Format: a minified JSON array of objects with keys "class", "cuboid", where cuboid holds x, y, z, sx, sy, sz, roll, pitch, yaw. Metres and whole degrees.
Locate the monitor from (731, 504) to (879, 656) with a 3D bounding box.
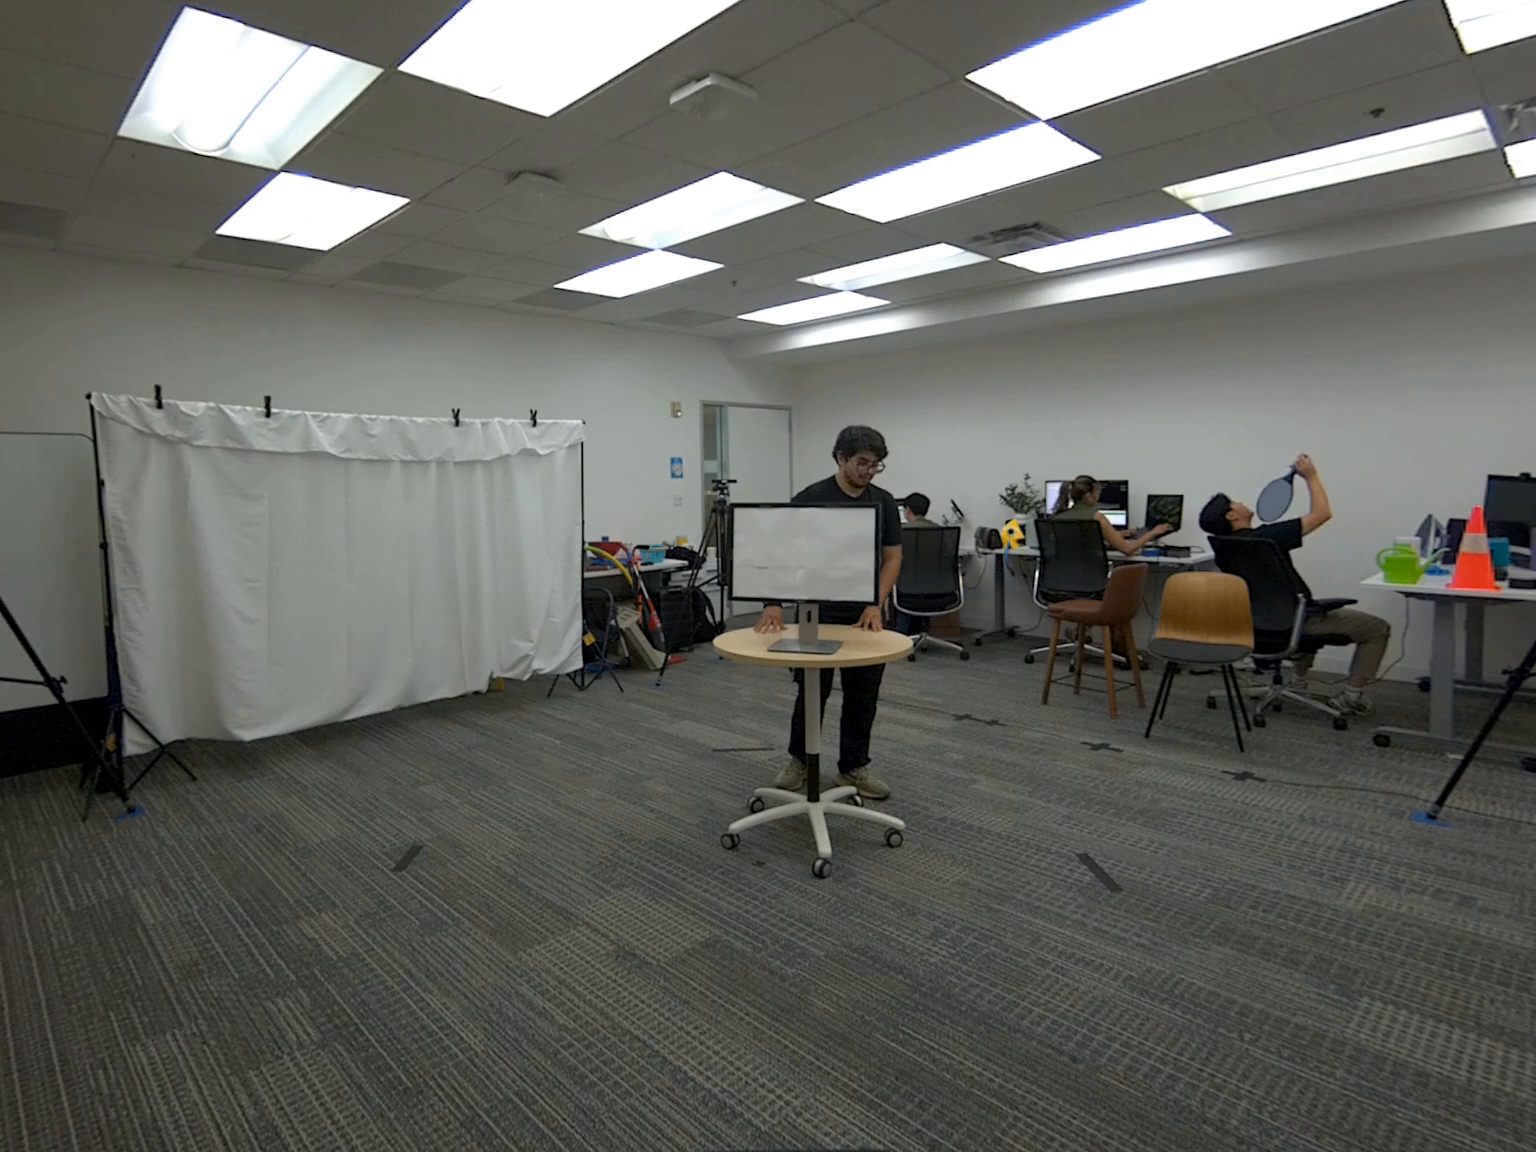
[{"class":"monitor","cuboid":[0.142,0.004,3.152,0.575,0.553,0.207,1,2,18]}]
